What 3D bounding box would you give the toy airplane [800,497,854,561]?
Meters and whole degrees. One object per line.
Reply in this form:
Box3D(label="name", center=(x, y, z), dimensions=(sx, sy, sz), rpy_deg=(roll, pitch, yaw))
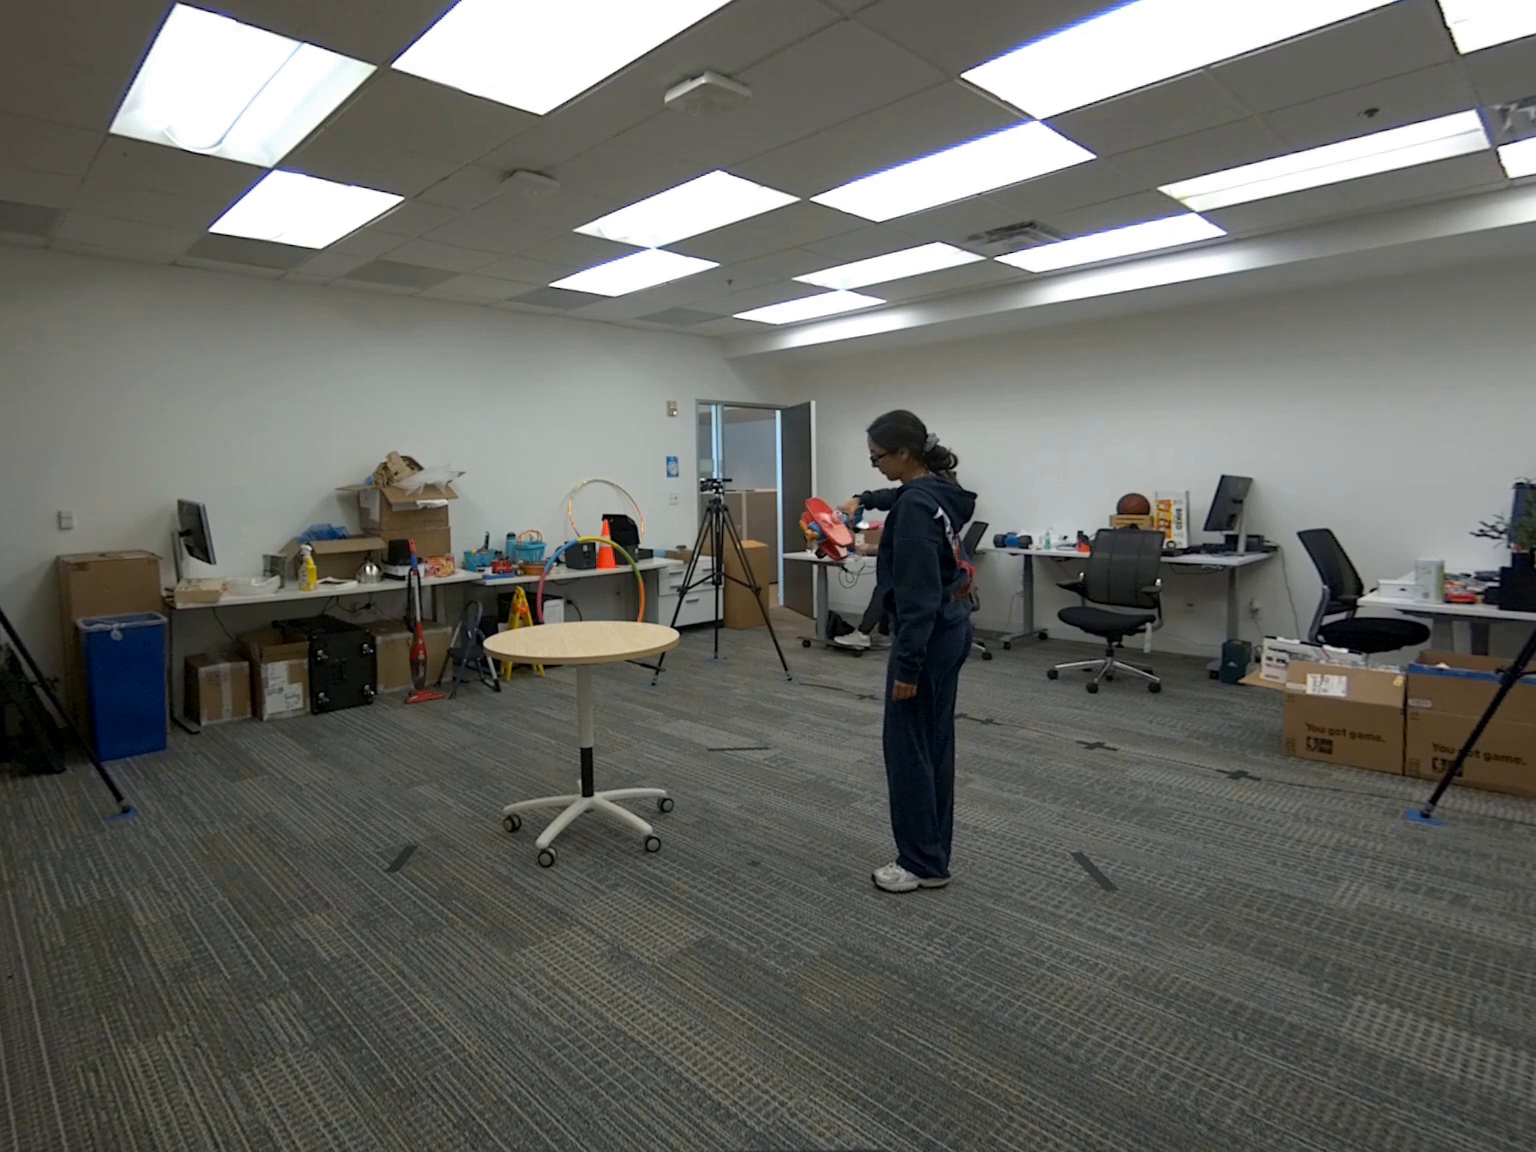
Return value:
Box3D(label="toy airplane", center=(0.251, -0.202, 3.297), dimensions=(0.258, 0.260, 0.152), rpy_deg=(25, -27, 21))
